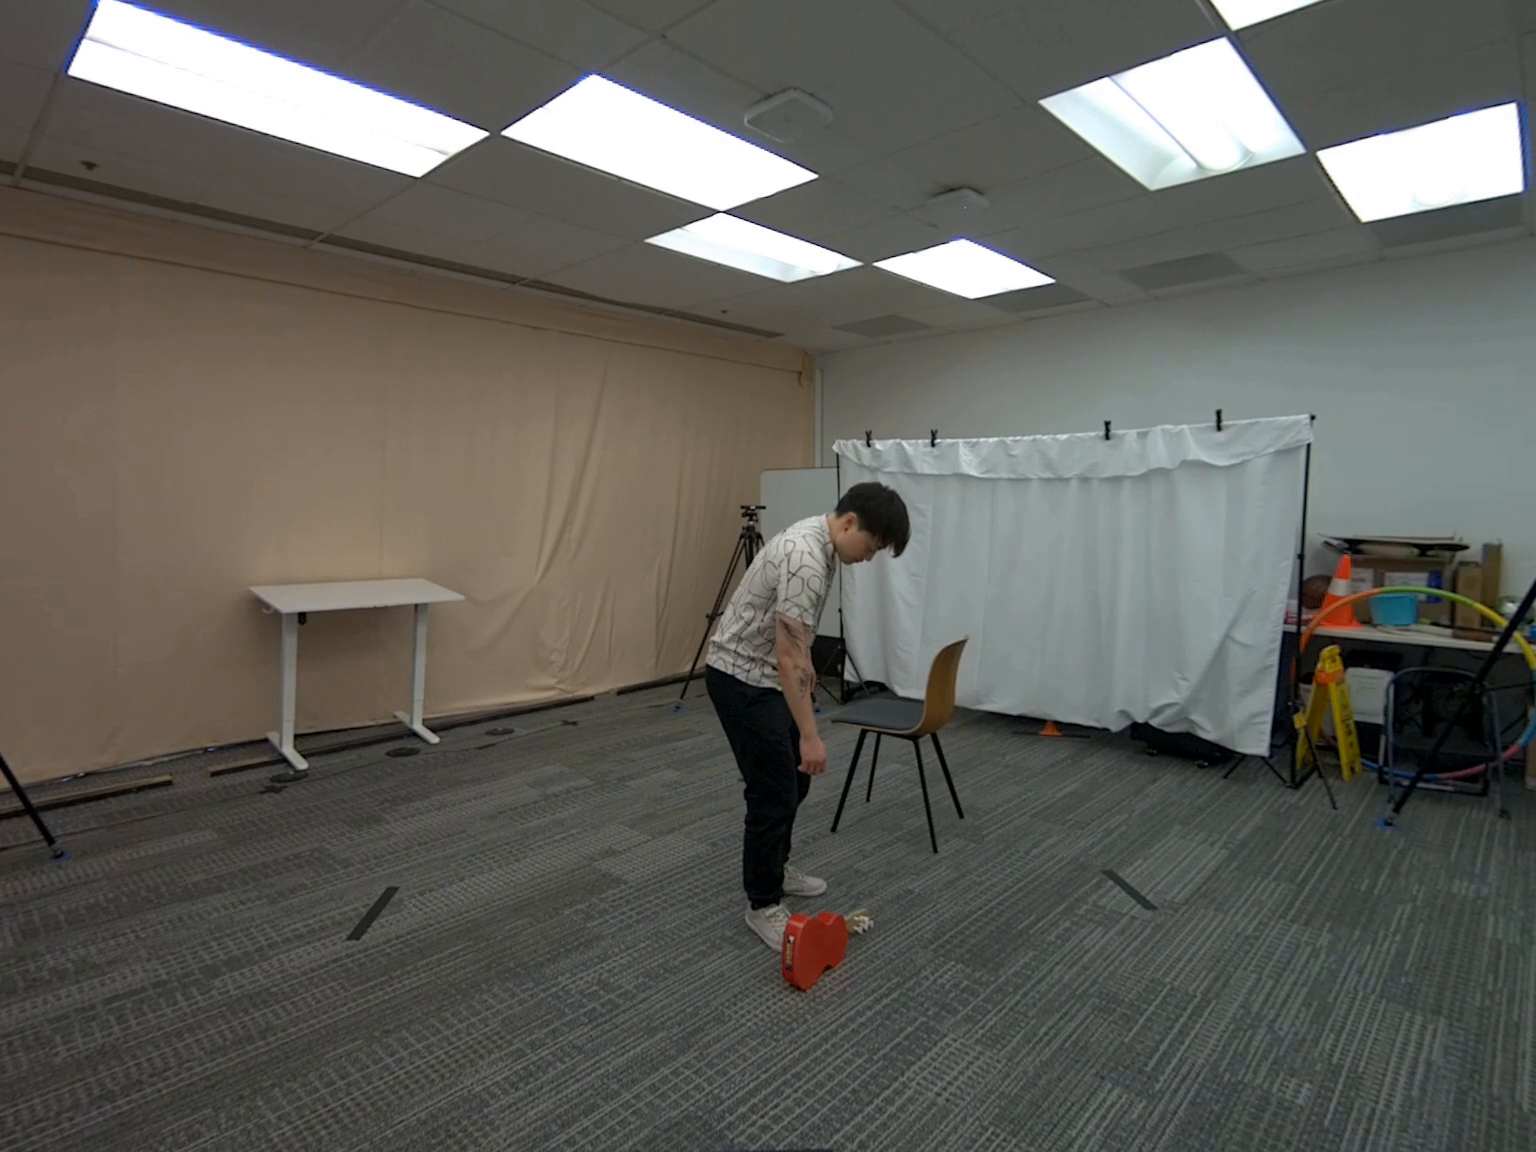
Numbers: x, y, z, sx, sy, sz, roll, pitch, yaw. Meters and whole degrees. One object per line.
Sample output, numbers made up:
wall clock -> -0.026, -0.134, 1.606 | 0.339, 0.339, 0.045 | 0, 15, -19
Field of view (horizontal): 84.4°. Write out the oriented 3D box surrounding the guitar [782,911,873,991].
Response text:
guitar -> 0.208, 1.083, 2.596 | 0.073, 0.193, 0.483 | -3, 1, 37
